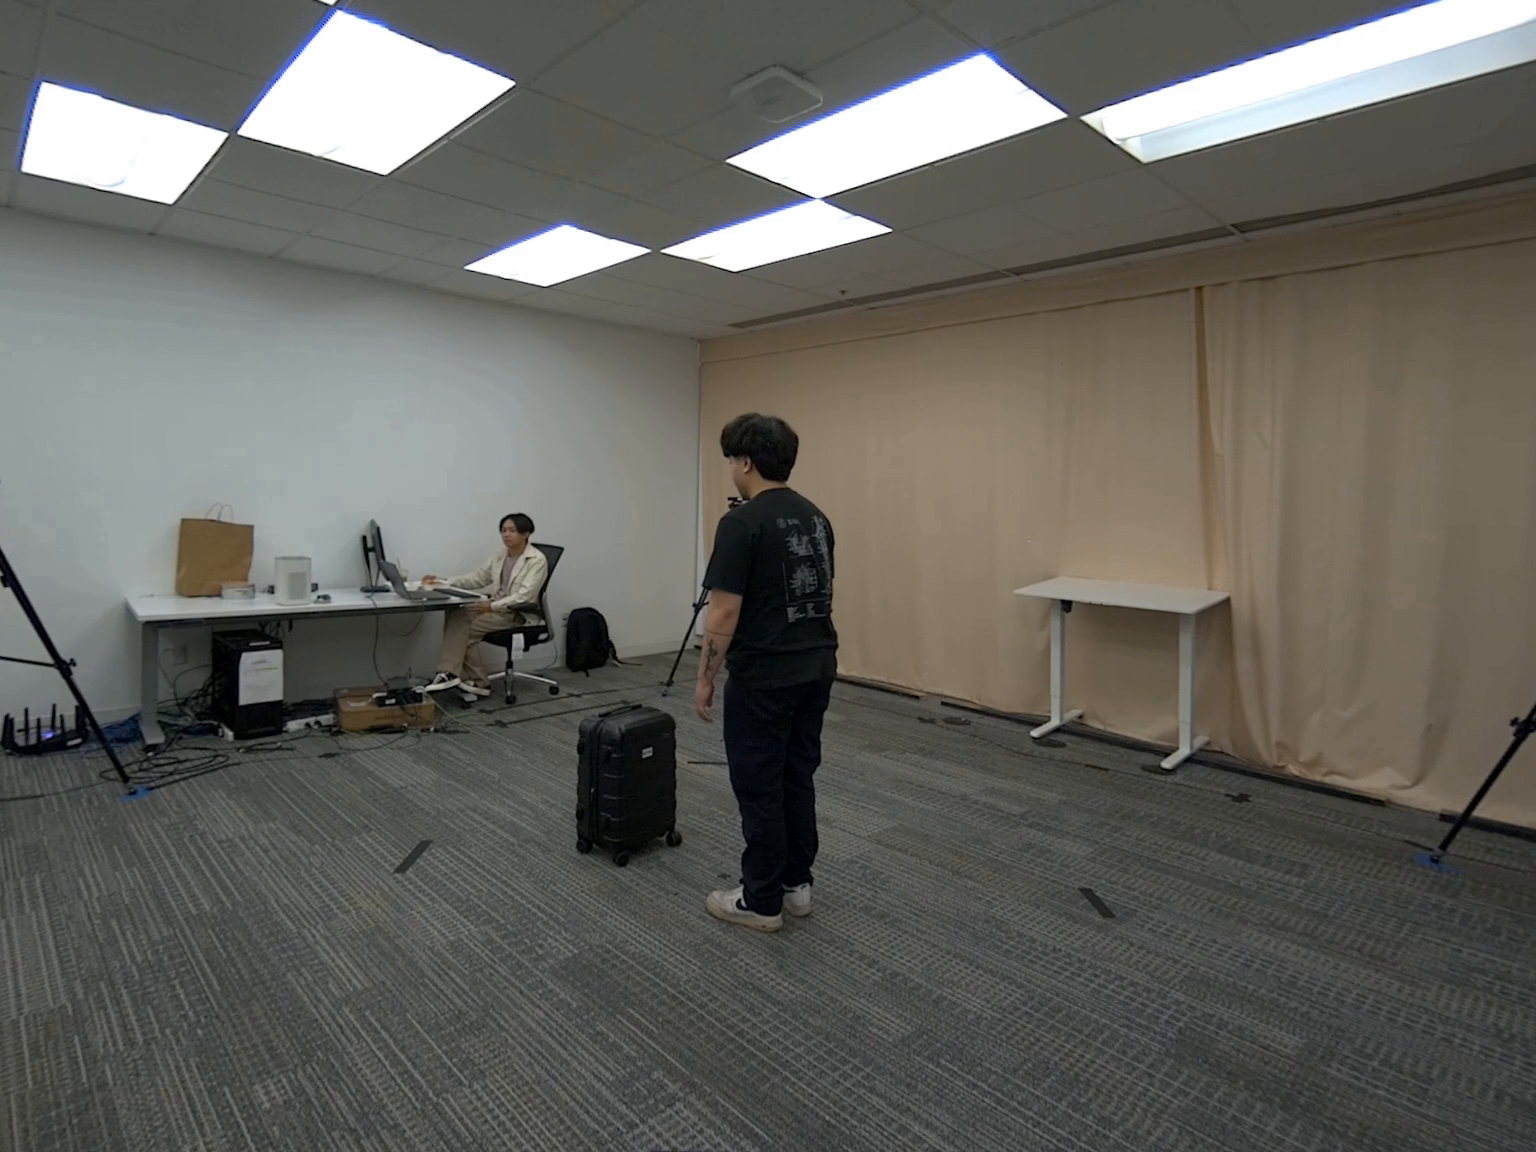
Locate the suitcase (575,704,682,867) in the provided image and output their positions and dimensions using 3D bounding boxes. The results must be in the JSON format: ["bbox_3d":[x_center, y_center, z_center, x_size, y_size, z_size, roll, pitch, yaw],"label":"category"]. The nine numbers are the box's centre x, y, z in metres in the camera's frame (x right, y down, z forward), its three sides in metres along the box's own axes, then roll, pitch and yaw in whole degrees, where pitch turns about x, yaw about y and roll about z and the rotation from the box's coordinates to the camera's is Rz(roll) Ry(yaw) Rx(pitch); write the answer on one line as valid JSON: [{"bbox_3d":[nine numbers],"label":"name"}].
[{"bbox_3d":[-0.562,0.802,3.331,0.254,0.548,0.367,3,4,39],"label":"suitcase"}]
